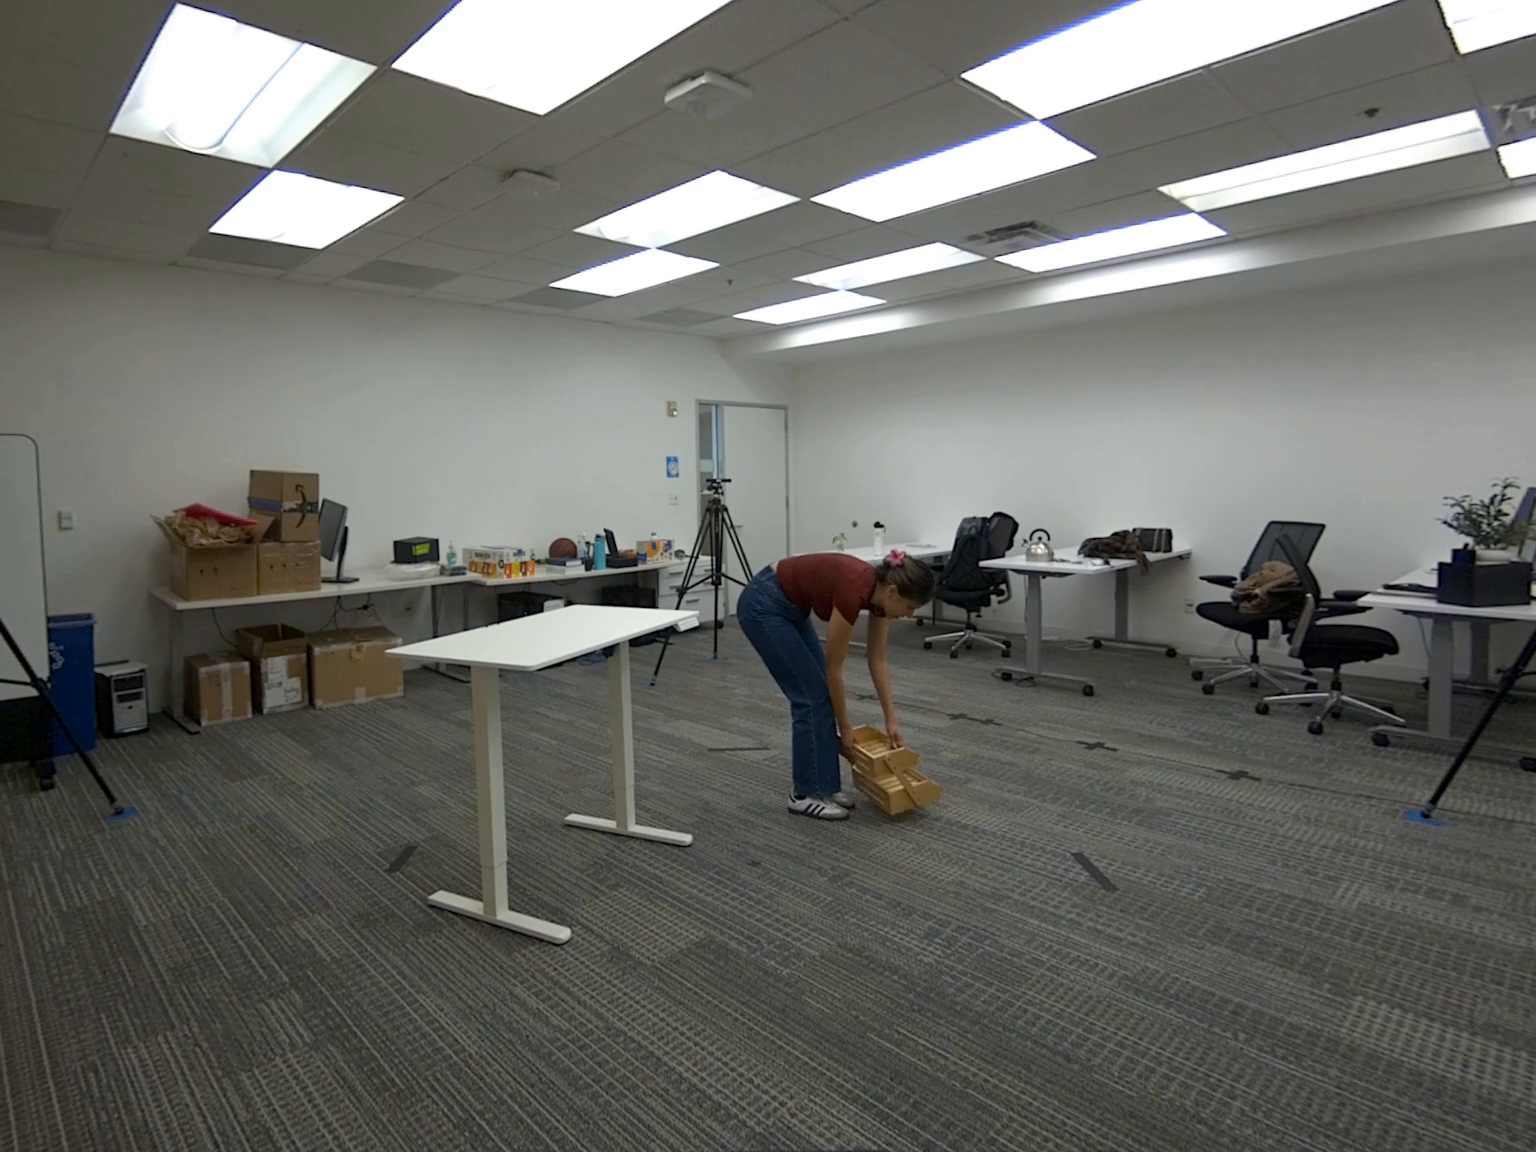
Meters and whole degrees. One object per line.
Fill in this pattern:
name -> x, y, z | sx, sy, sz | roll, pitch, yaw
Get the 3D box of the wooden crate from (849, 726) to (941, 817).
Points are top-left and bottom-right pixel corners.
wooden crate -> 0.503, 0.775, 3.566 | 0.297, 0.270, 0.333 | -12, 12, -21
